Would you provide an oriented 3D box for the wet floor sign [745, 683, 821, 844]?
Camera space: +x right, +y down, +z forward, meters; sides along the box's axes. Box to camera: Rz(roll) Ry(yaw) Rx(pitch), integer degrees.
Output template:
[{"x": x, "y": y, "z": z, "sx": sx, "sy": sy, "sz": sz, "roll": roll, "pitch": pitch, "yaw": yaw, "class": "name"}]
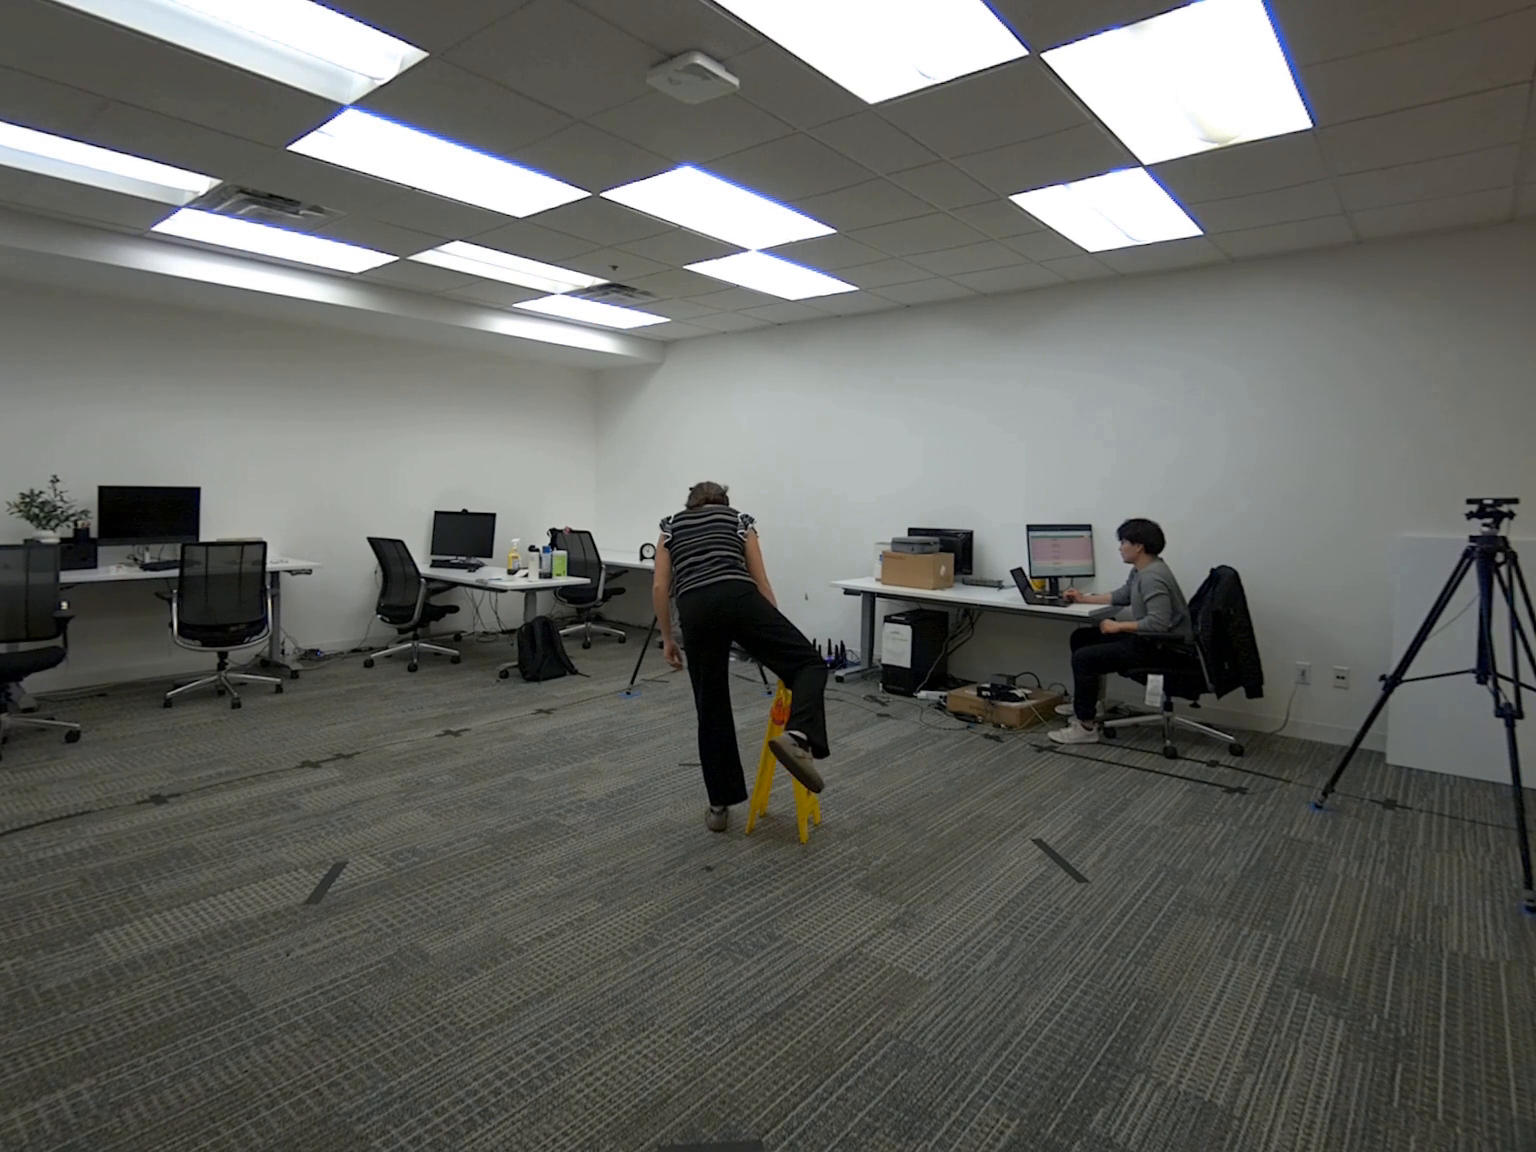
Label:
[{"x": 0.063, "y": 0.714, "z": 3.496, "sx": 0.295, "sy": 0.644, "sz": 0.278, "roll": 4, "pitch": 4, "yaw": 17, "class": "wet floor sign"}]
